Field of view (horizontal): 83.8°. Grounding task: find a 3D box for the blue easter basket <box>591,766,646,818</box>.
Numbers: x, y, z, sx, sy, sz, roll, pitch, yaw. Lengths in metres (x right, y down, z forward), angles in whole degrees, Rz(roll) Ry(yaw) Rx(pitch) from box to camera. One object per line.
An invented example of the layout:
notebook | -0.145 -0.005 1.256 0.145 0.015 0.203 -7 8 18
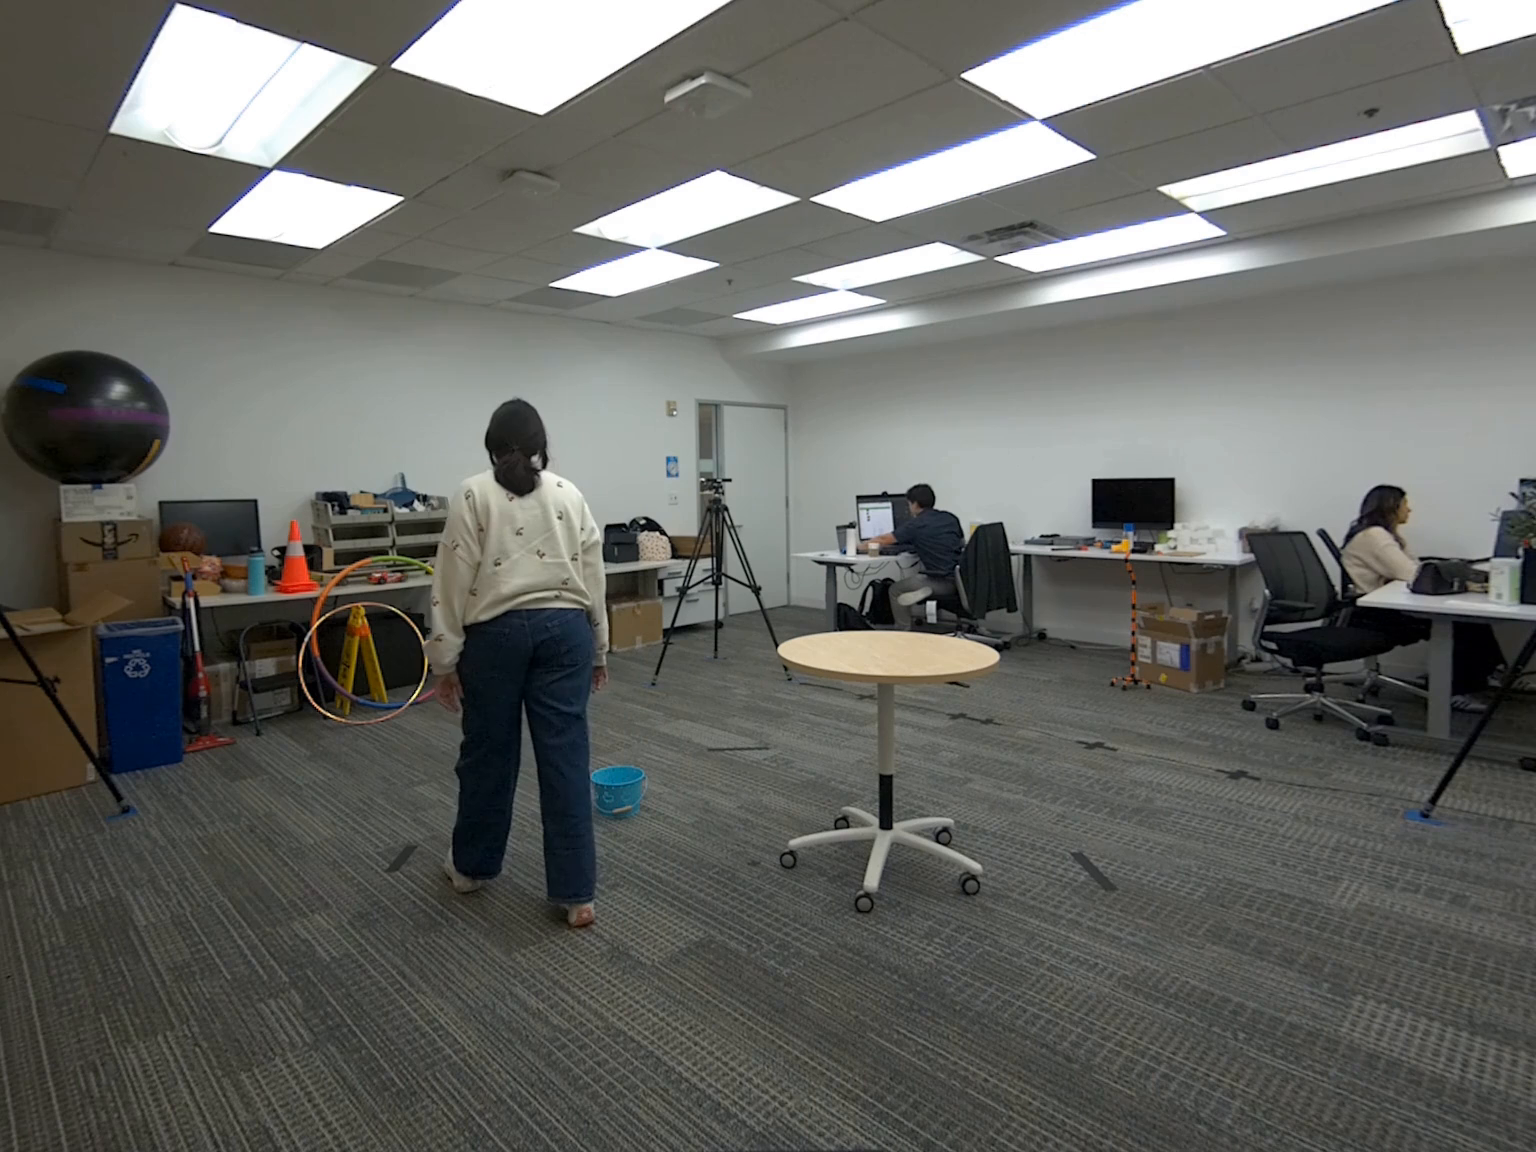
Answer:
blue easter basket | -0.641 0.915 3.625 0.243 0.155 0.245 -1 5 -2
